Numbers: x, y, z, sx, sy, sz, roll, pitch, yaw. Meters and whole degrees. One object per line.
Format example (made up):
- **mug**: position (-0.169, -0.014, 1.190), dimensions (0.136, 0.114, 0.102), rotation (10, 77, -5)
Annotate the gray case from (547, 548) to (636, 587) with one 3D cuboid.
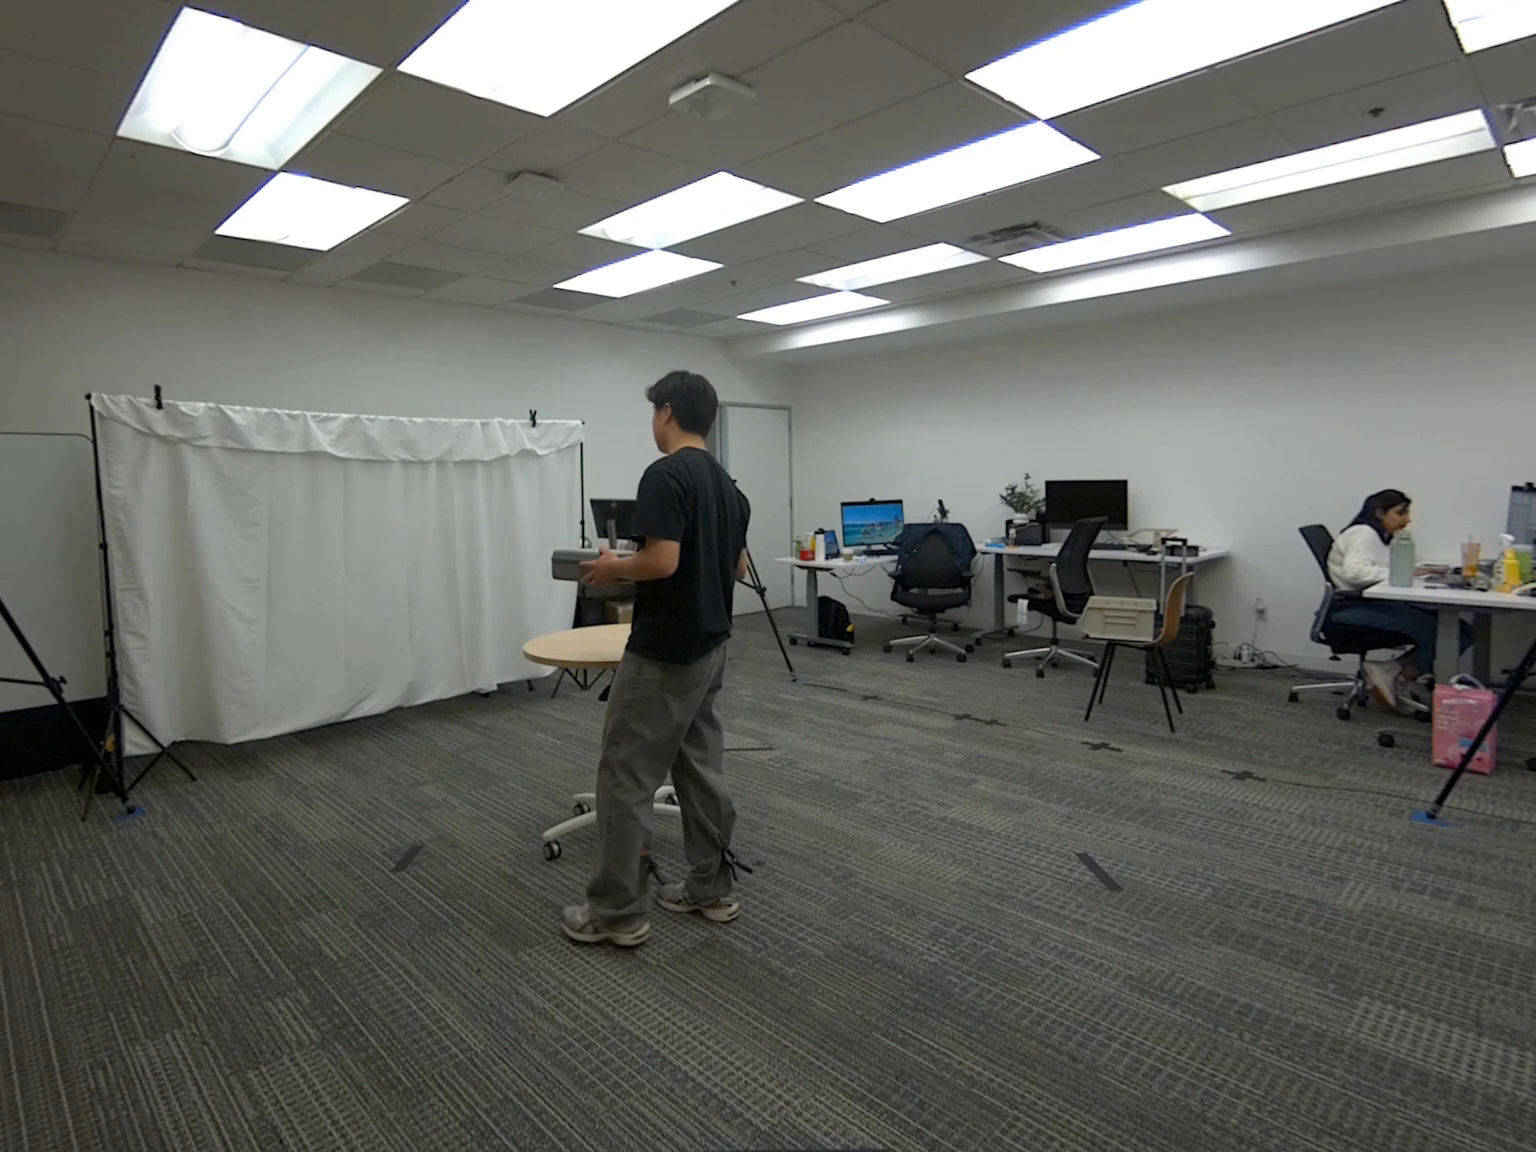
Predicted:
- **gray case**: position (-0.532, -0.034, 2.838), dimensions (0.294, 0.103, 0.257), rotation (4, 3, 24)
